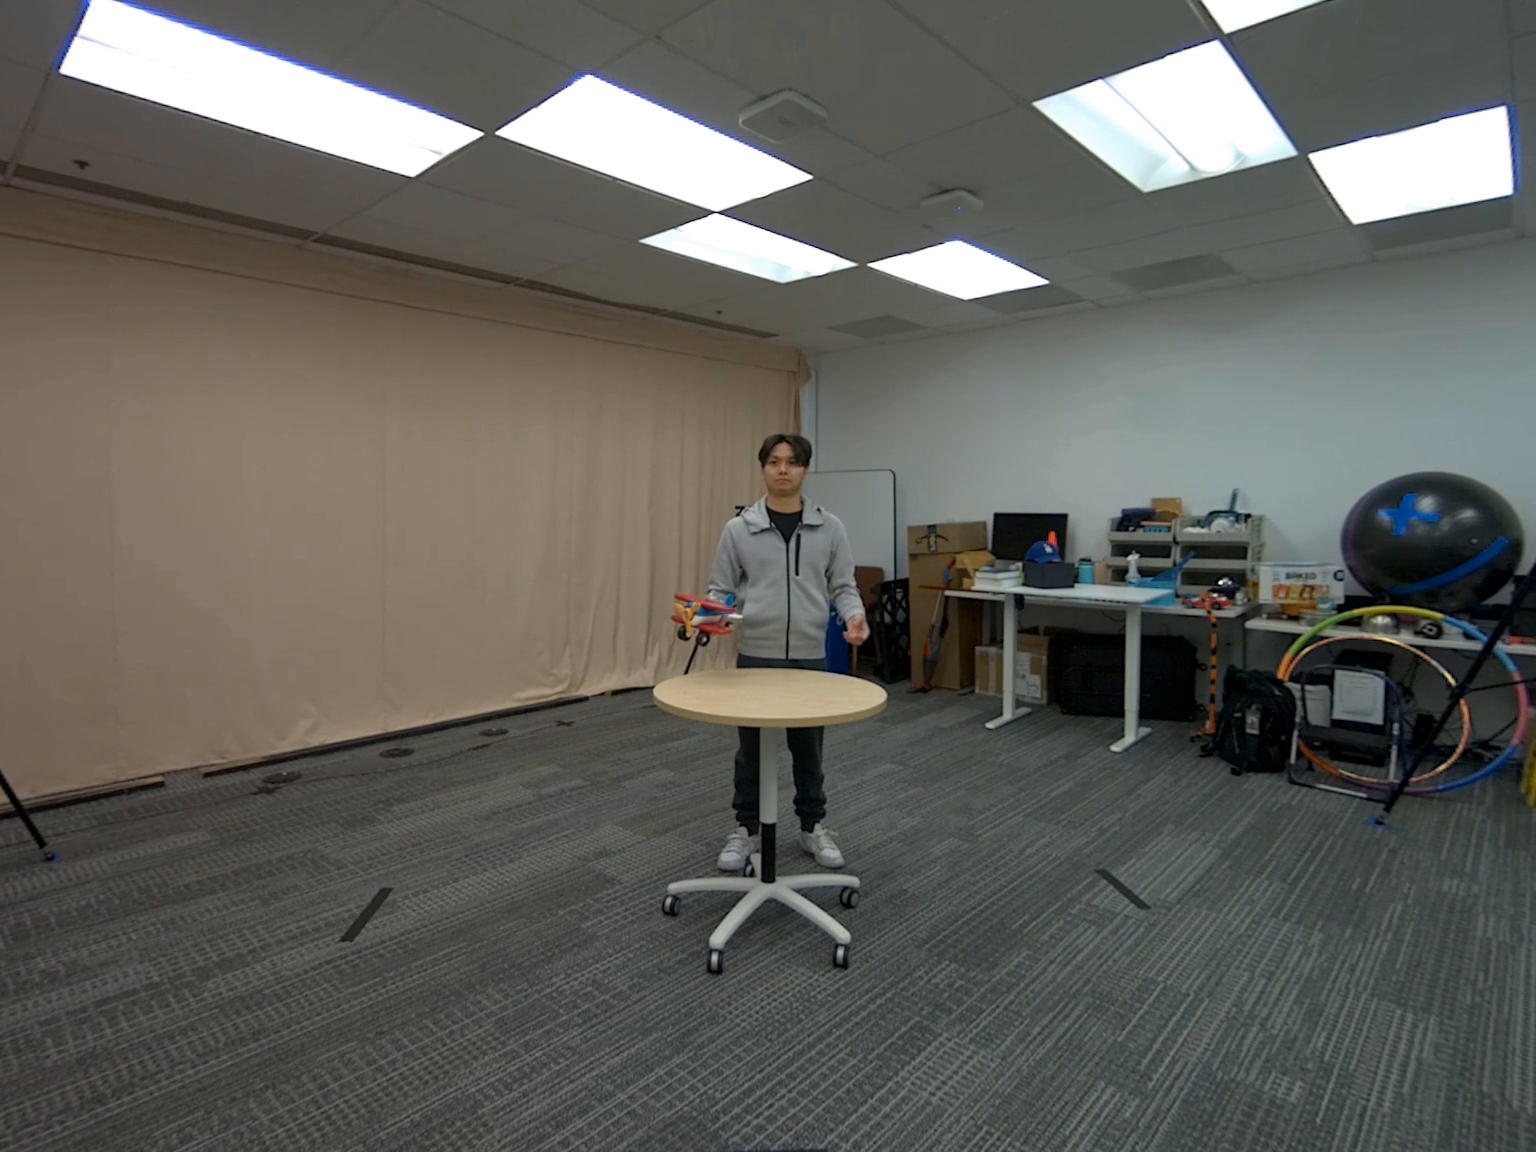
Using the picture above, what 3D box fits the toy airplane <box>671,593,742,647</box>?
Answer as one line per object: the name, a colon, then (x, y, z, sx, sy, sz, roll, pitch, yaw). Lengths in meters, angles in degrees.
toy airplane: (-0.218, 0.131, 3.006, 0.254, 0.155, 0.259, 2, 16, 9)
